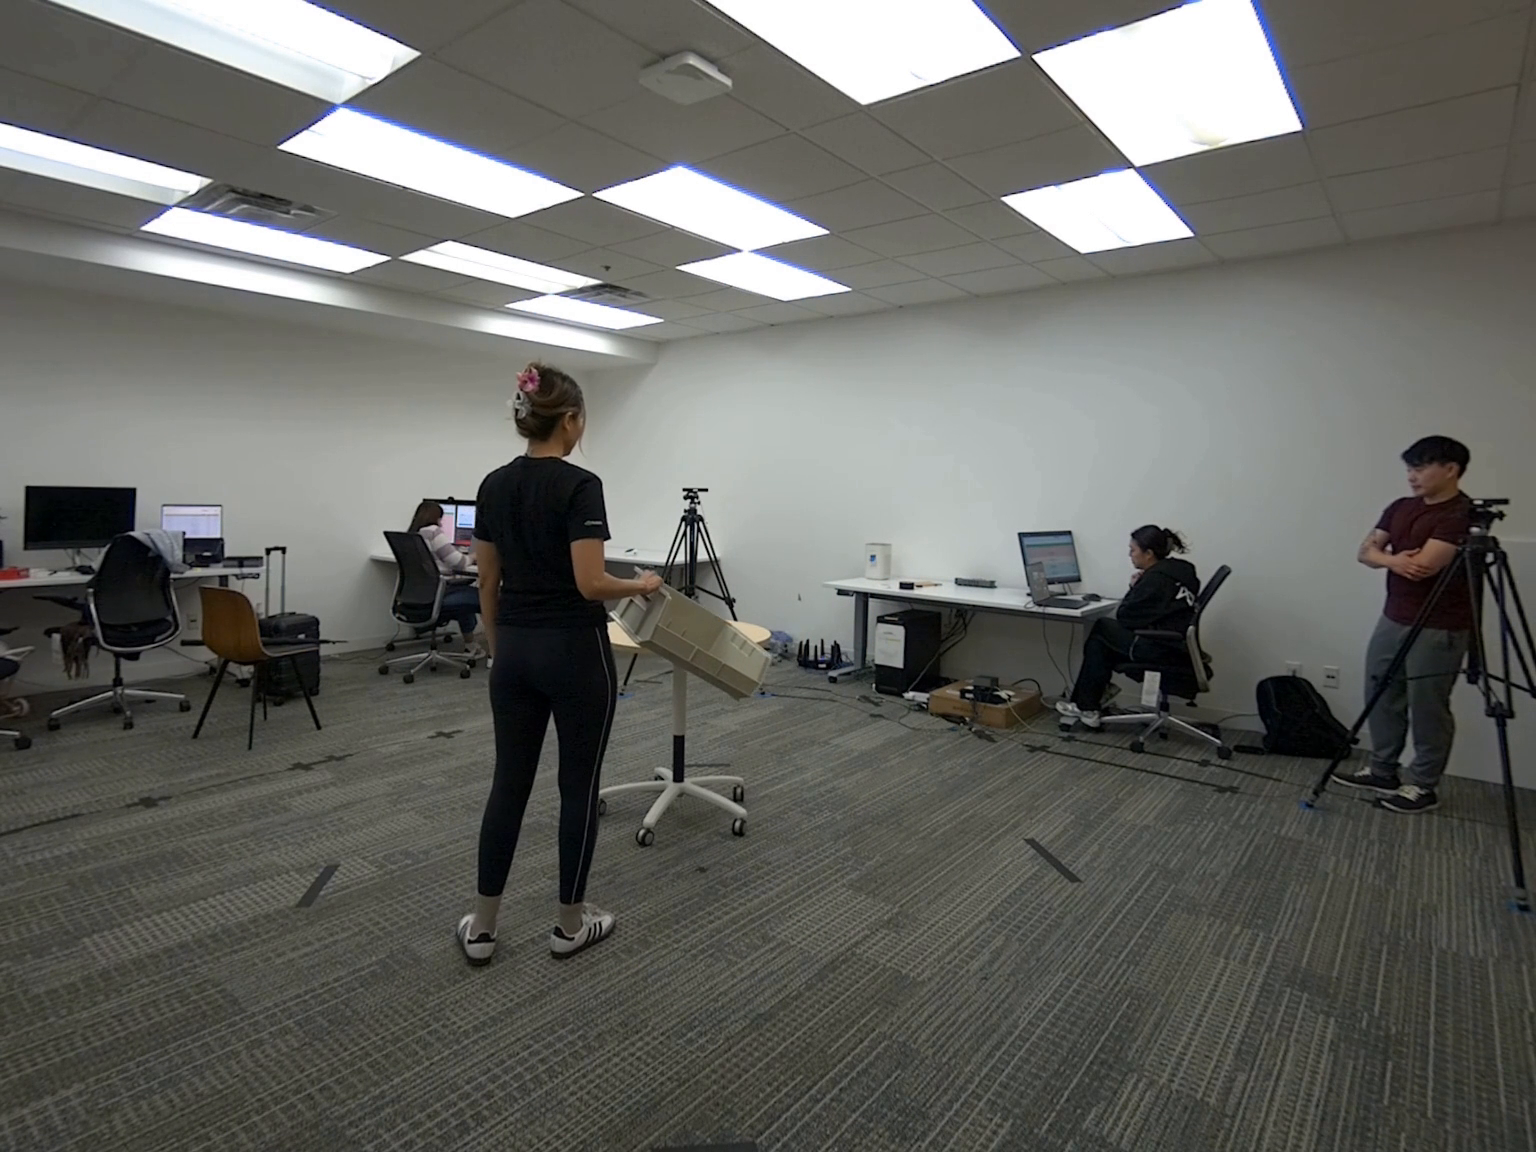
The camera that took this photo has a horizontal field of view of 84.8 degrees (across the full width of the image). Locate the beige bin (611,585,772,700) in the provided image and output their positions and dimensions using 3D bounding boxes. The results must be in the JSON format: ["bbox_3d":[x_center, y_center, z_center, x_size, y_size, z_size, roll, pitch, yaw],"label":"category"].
[{"bbox_3d":[-0.261,0.187,2.724,0.409,0.189,0.390,33,-3,-27],"label":"beige bin"}]
